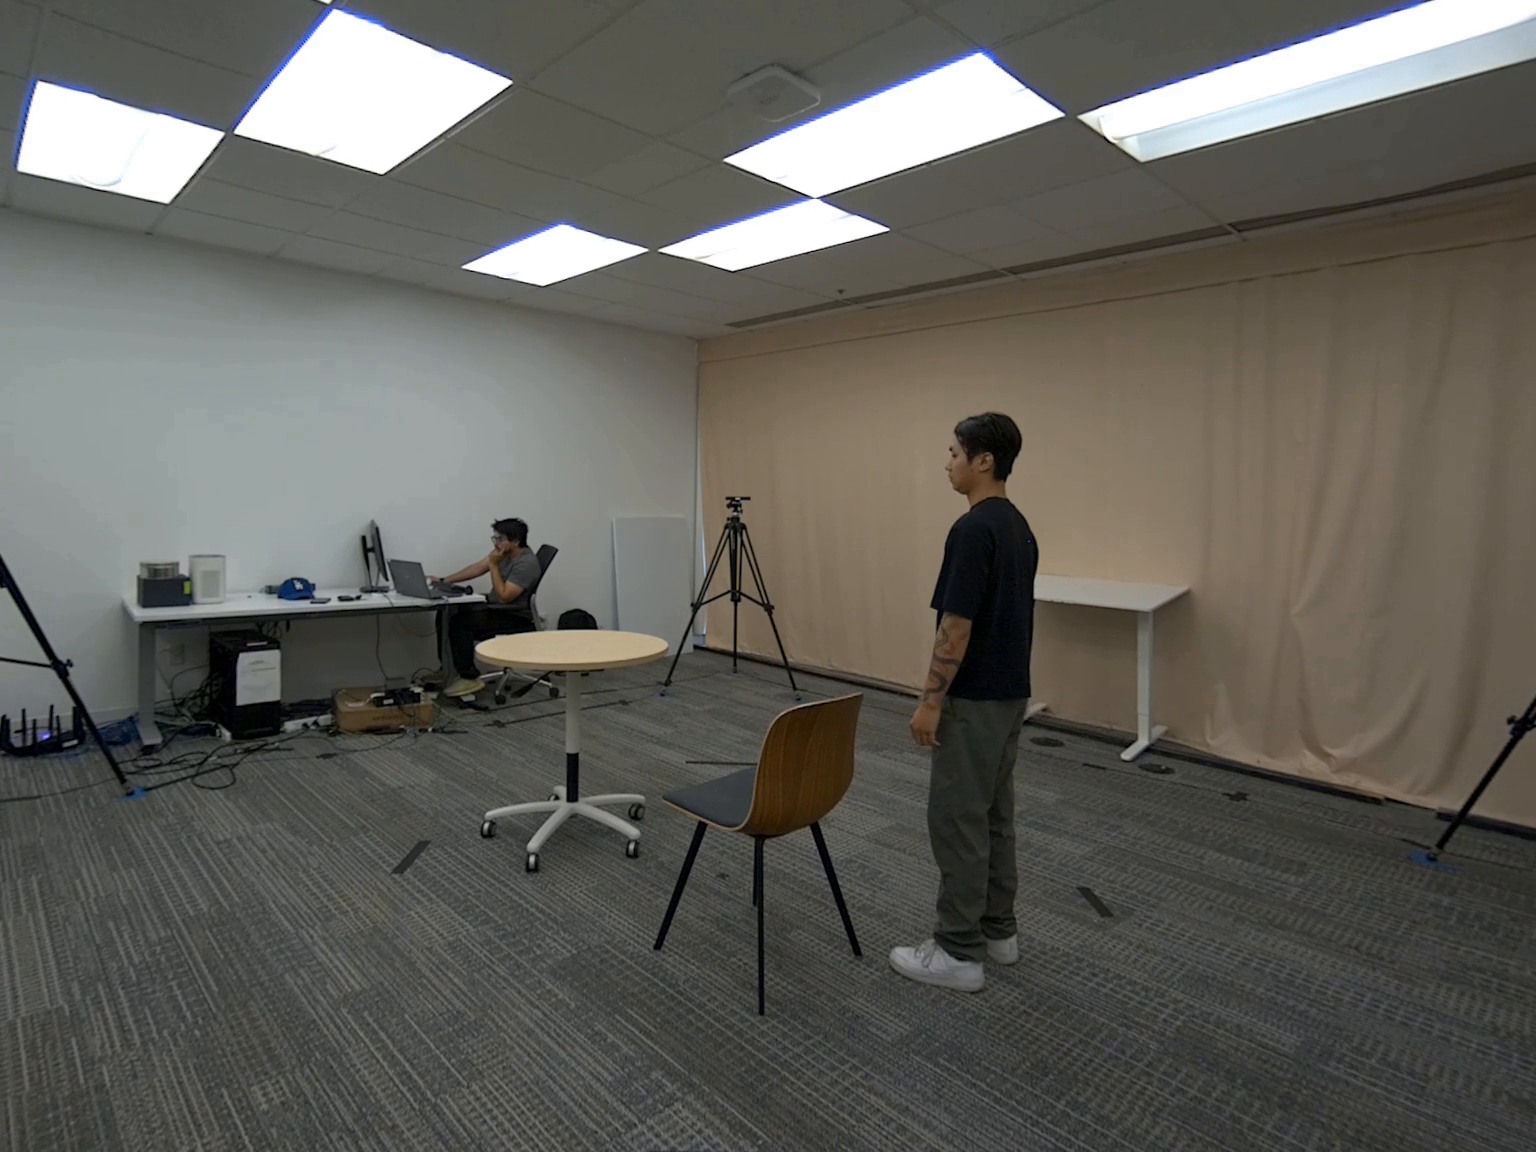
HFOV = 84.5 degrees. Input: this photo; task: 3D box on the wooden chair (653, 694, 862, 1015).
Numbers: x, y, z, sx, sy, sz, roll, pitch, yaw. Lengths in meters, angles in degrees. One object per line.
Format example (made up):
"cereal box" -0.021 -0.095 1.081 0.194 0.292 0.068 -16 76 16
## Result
"wooden chair" -0.028 0.729 2.555 0.537 0.873 0.467 11 9 44
